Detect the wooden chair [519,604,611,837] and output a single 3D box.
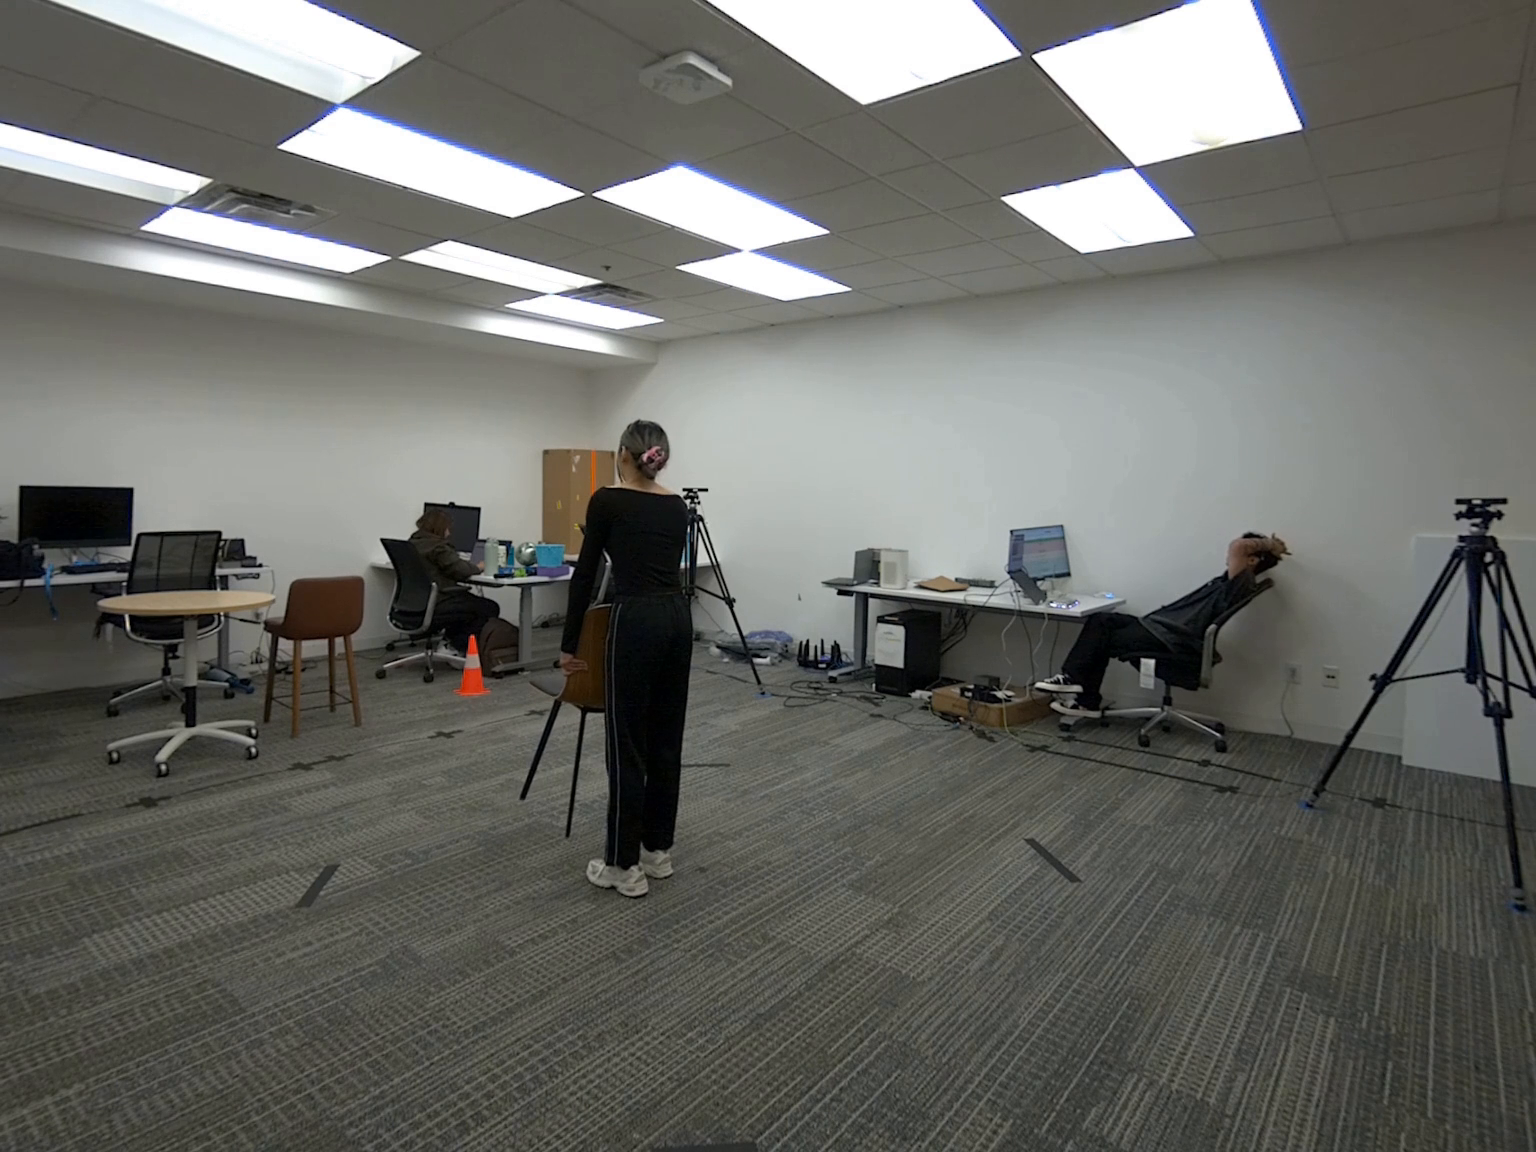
[{"bbox_3d":[-0.679,0.491,3.338,0.464,0.873,0.542,1,8,-35],"label":"wooden chair"}]
